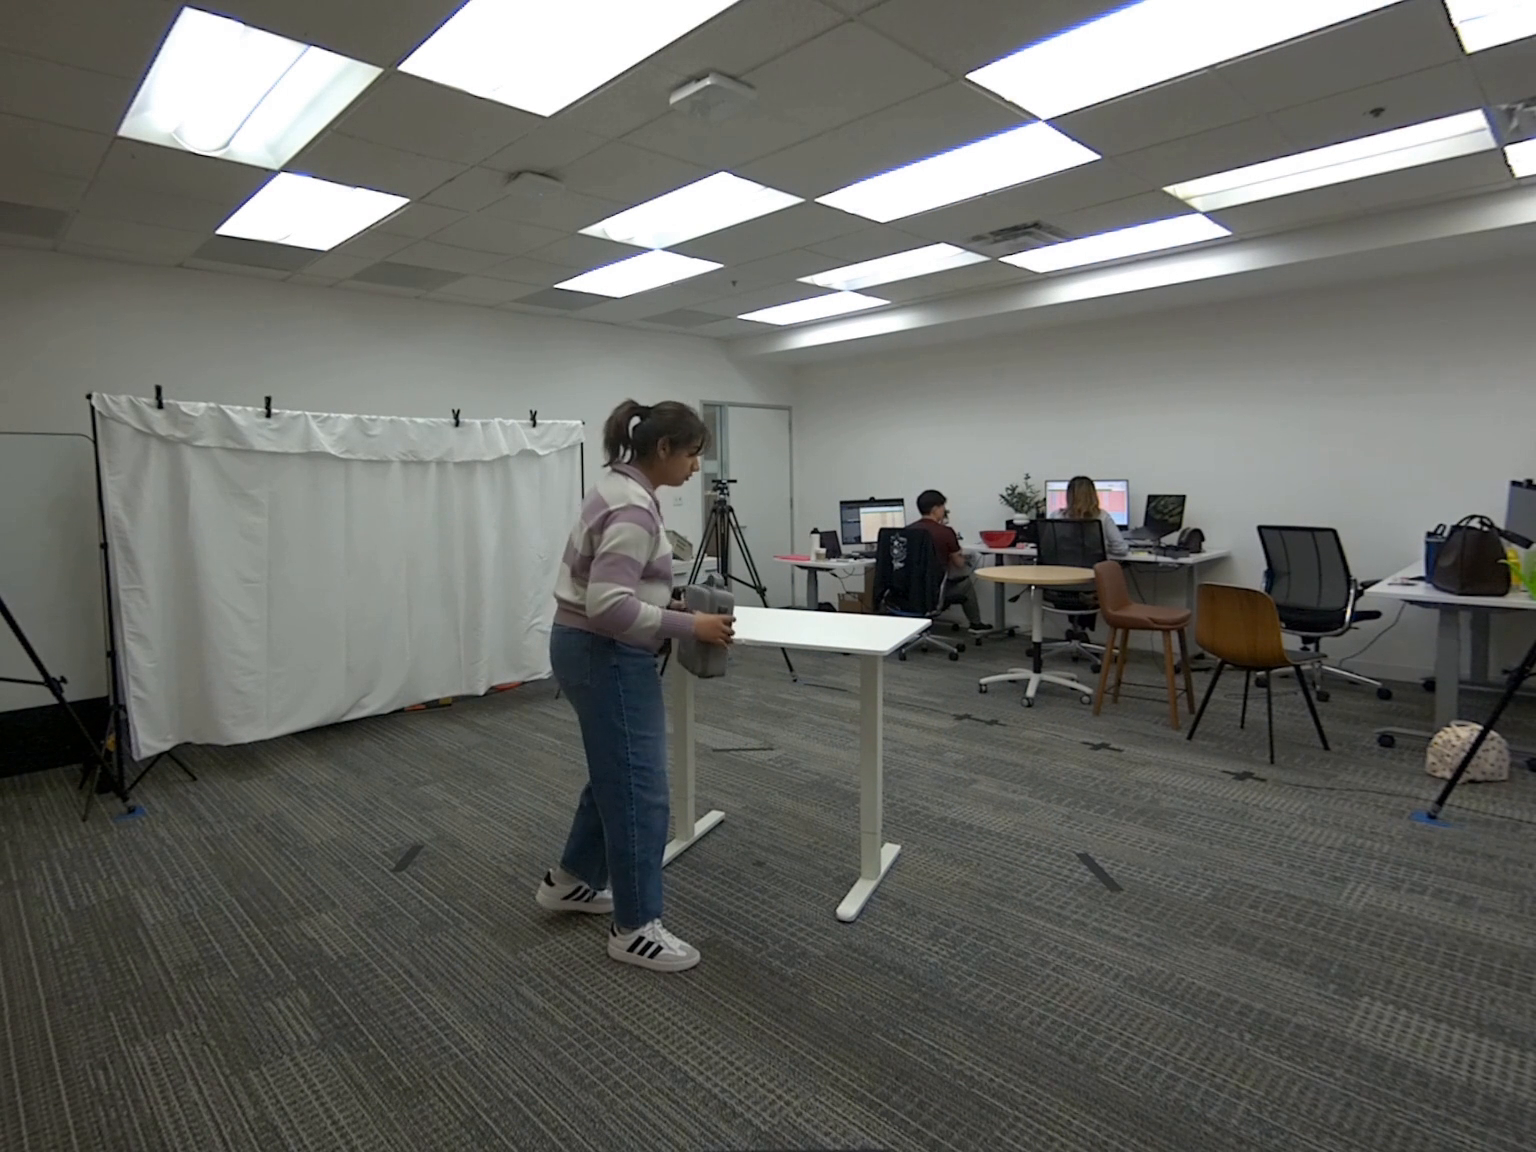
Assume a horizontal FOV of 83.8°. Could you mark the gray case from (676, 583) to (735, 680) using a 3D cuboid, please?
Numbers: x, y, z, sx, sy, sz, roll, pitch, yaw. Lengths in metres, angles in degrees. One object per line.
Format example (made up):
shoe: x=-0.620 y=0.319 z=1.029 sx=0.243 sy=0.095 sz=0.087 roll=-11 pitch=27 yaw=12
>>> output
gray case: x=-0.188 y=0.162 z=2.532 sx=0.102 sy=0.260 sz=0.261 roll=7 pitch=1 yaw=-18
